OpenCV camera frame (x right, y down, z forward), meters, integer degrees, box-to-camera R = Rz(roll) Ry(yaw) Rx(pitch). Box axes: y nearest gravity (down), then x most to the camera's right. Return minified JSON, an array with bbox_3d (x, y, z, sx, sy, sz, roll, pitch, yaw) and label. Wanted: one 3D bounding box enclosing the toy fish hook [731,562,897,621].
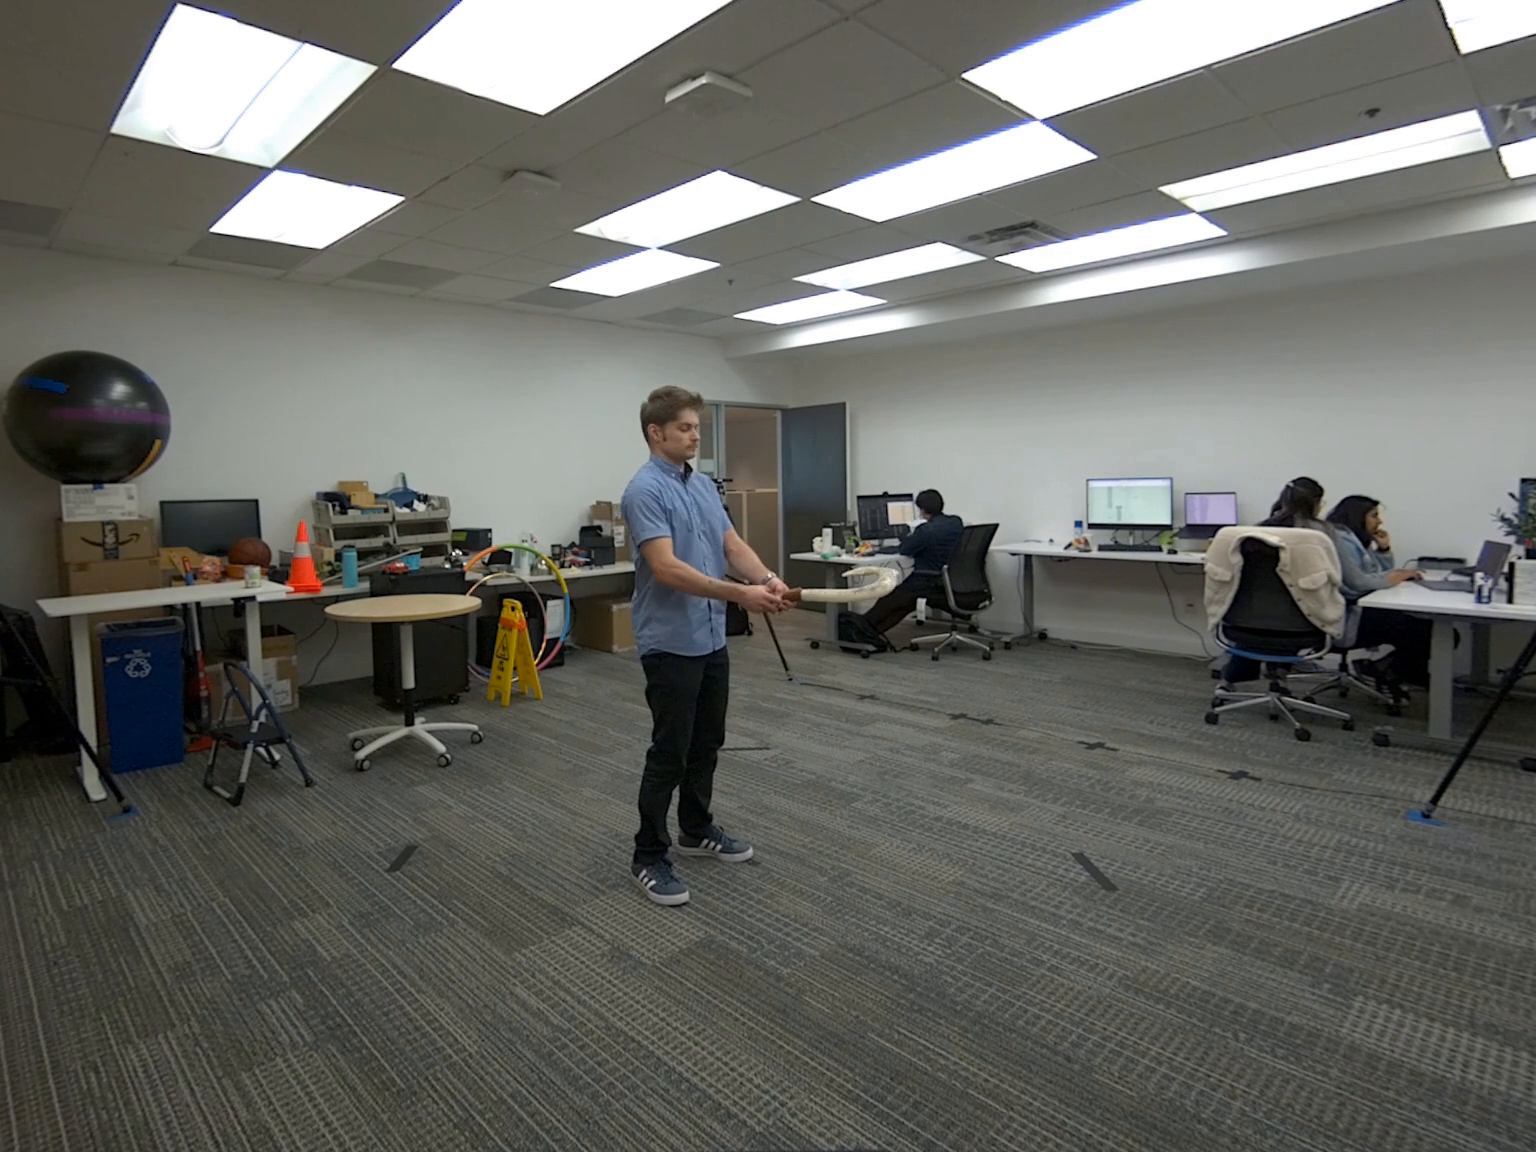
[{"bbox_3d":[0.151,0.049,2.820,0.515,0.047,0.225,-7,21,21],"label":"toy fish hook"}]
